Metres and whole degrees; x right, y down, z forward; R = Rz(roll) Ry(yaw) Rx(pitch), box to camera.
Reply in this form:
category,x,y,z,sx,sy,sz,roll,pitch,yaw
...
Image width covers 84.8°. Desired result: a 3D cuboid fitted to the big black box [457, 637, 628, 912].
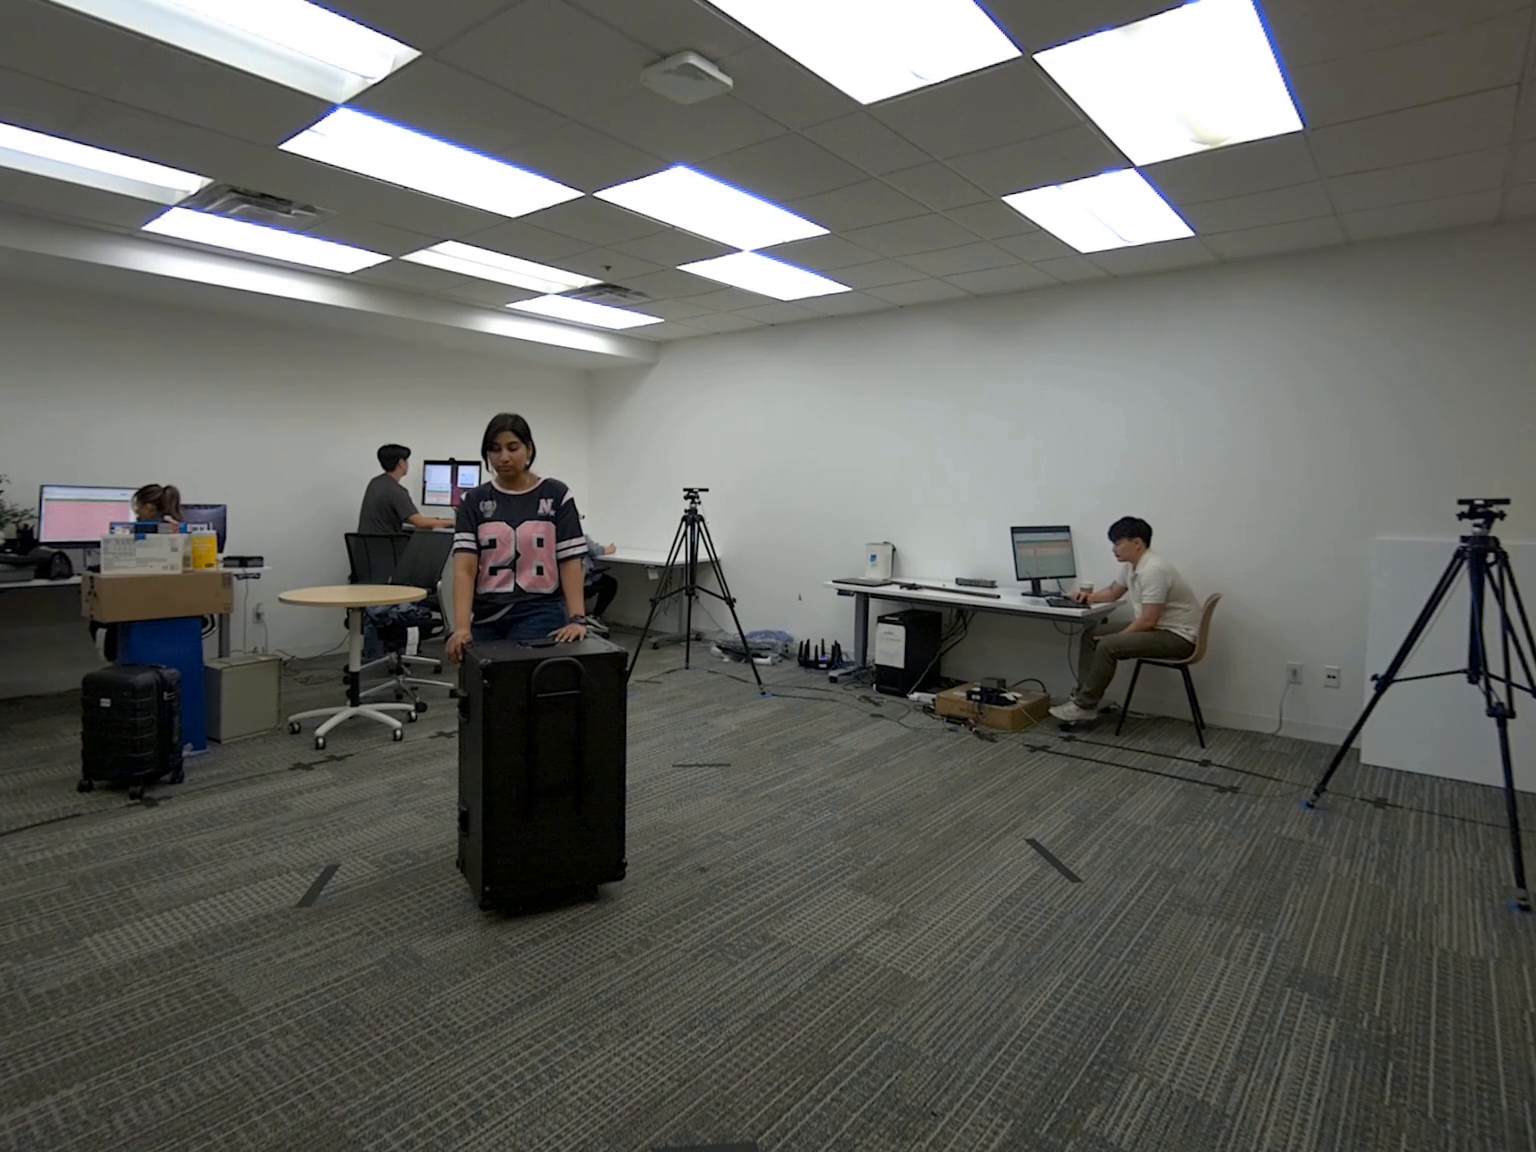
category,x,y,z,sx,sy,sz,roll,pitch,yaw
big black box,-0.773,0.660,2.876,0.509,0.866,0.397,-2,4,-31
